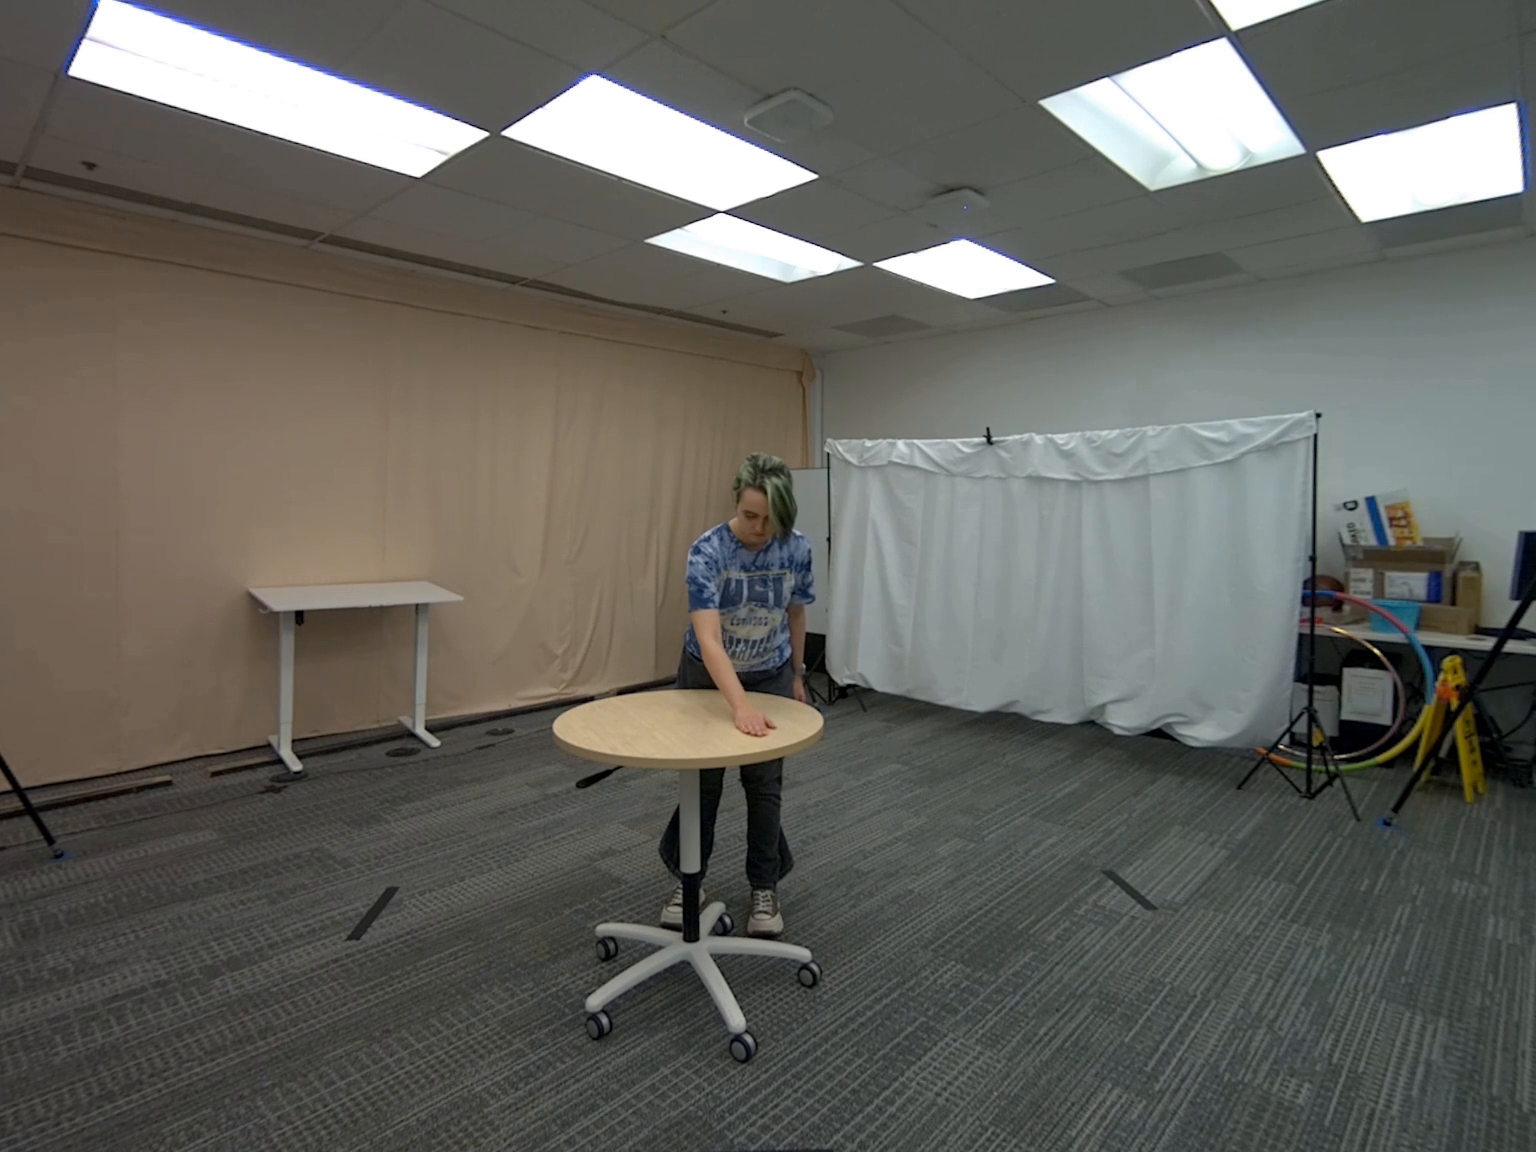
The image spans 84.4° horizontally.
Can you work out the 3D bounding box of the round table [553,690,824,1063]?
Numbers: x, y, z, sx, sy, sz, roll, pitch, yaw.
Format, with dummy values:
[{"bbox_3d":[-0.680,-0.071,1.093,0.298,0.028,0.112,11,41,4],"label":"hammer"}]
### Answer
[{"bbox_3d":[-0.231,0.796,2.434,0.784,0.785,0.788,0,4,-2],"label":"round table"}]
